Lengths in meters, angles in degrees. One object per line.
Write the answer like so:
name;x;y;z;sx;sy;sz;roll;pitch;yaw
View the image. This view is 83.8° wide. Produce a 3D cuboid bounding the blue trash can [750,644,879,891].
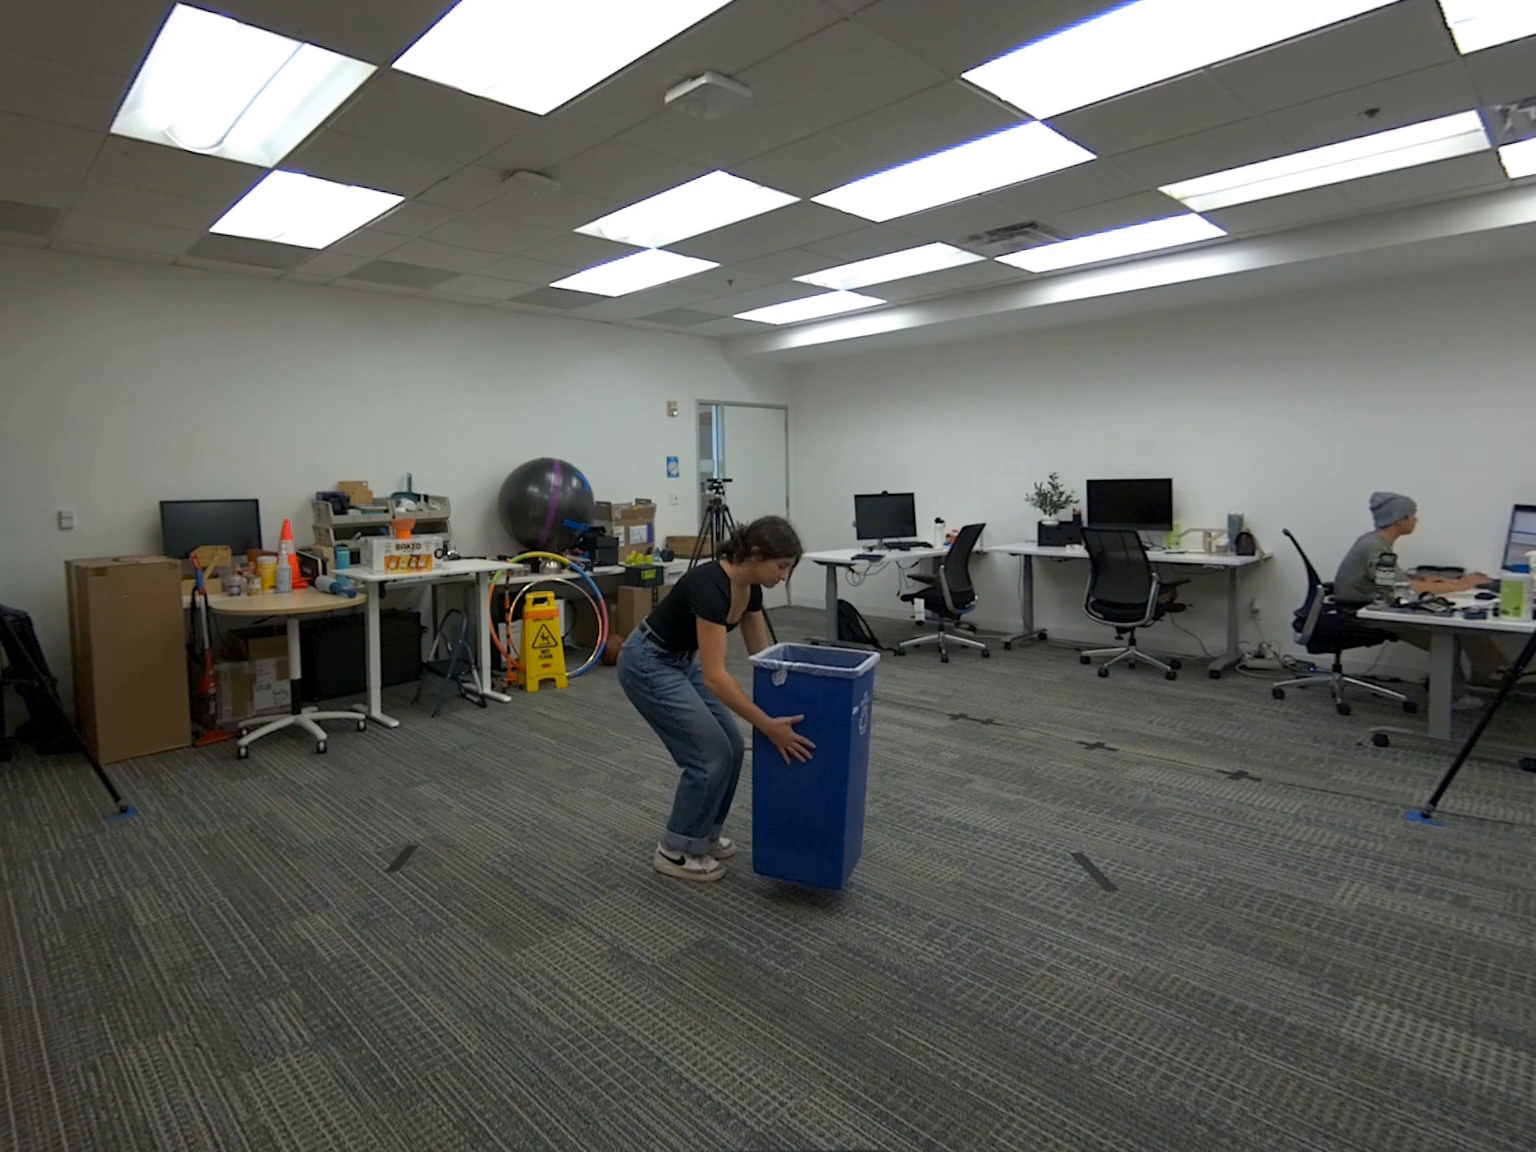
blue trash can;0.149;0.615;2.883;0.386;0.711;0.367;2;4;21
